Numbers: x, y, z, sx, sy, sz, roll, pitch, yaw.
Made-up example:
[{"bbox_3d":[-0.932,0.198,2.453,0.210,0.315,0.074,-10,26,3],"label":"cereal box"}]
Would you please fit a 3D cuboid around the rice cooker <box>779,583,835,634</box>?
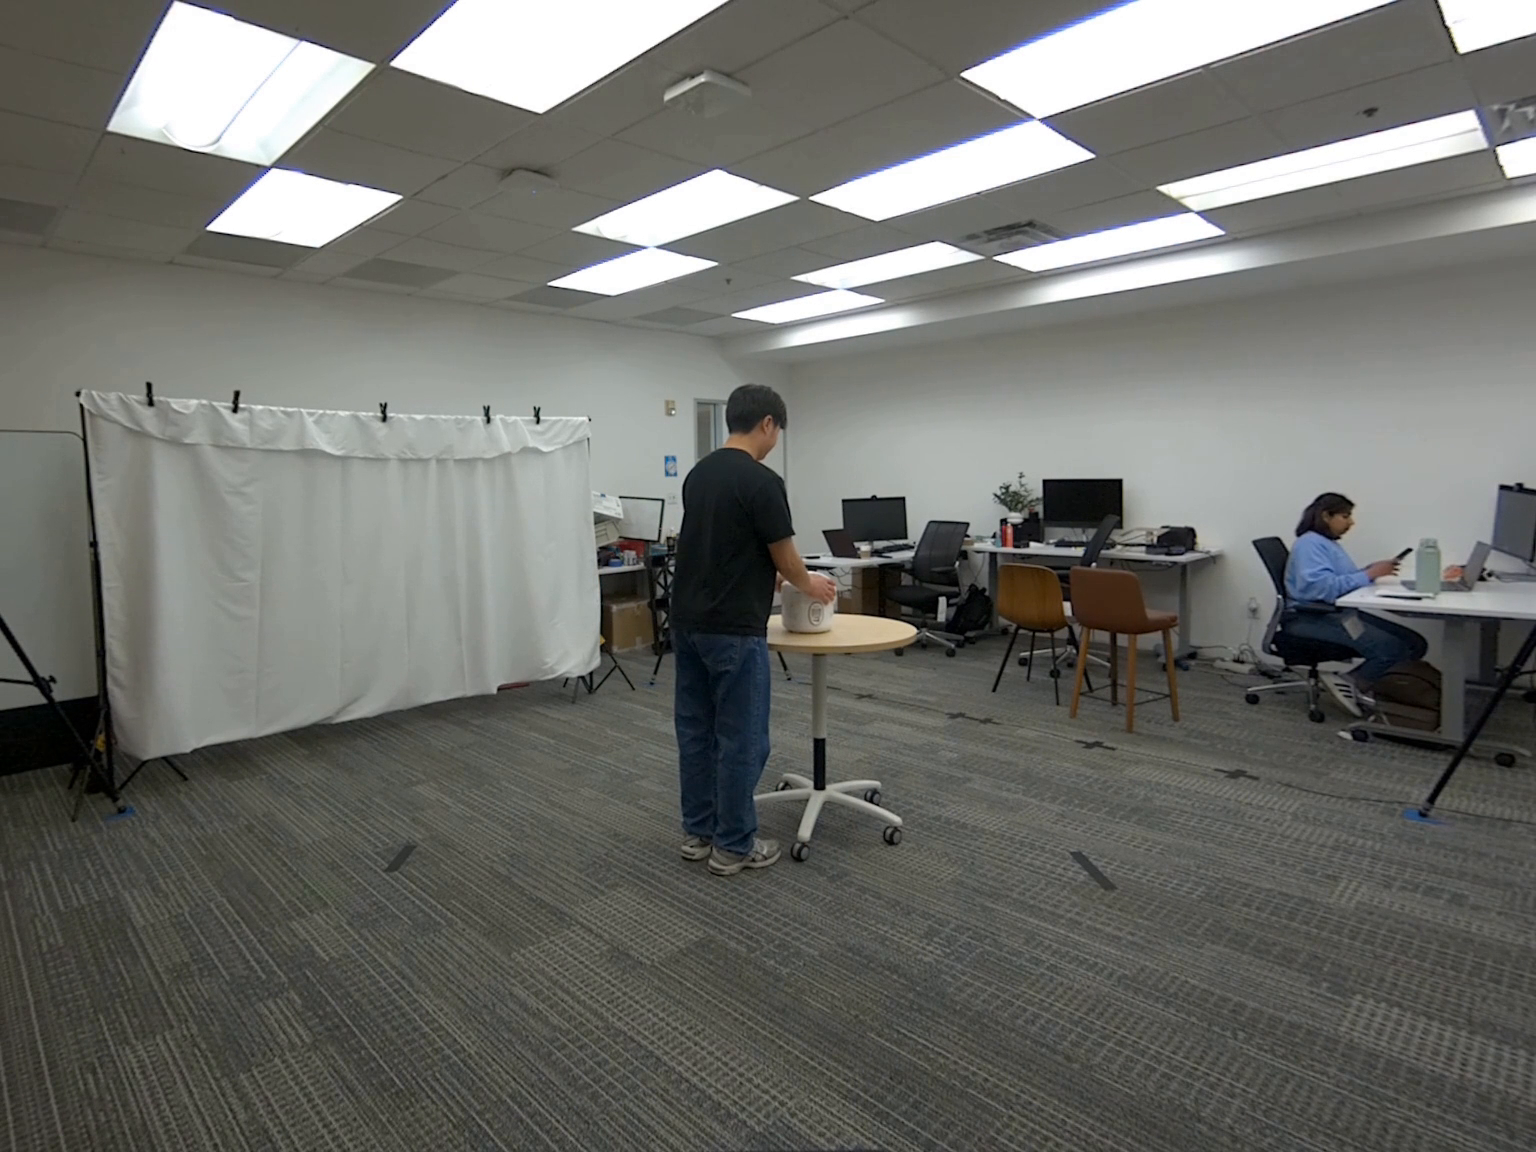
[{"bbox_3d":[0.159,0.097,3.357,0.218,0.232,0.221,-3,5,-14],"label":"rice cooker"}]
